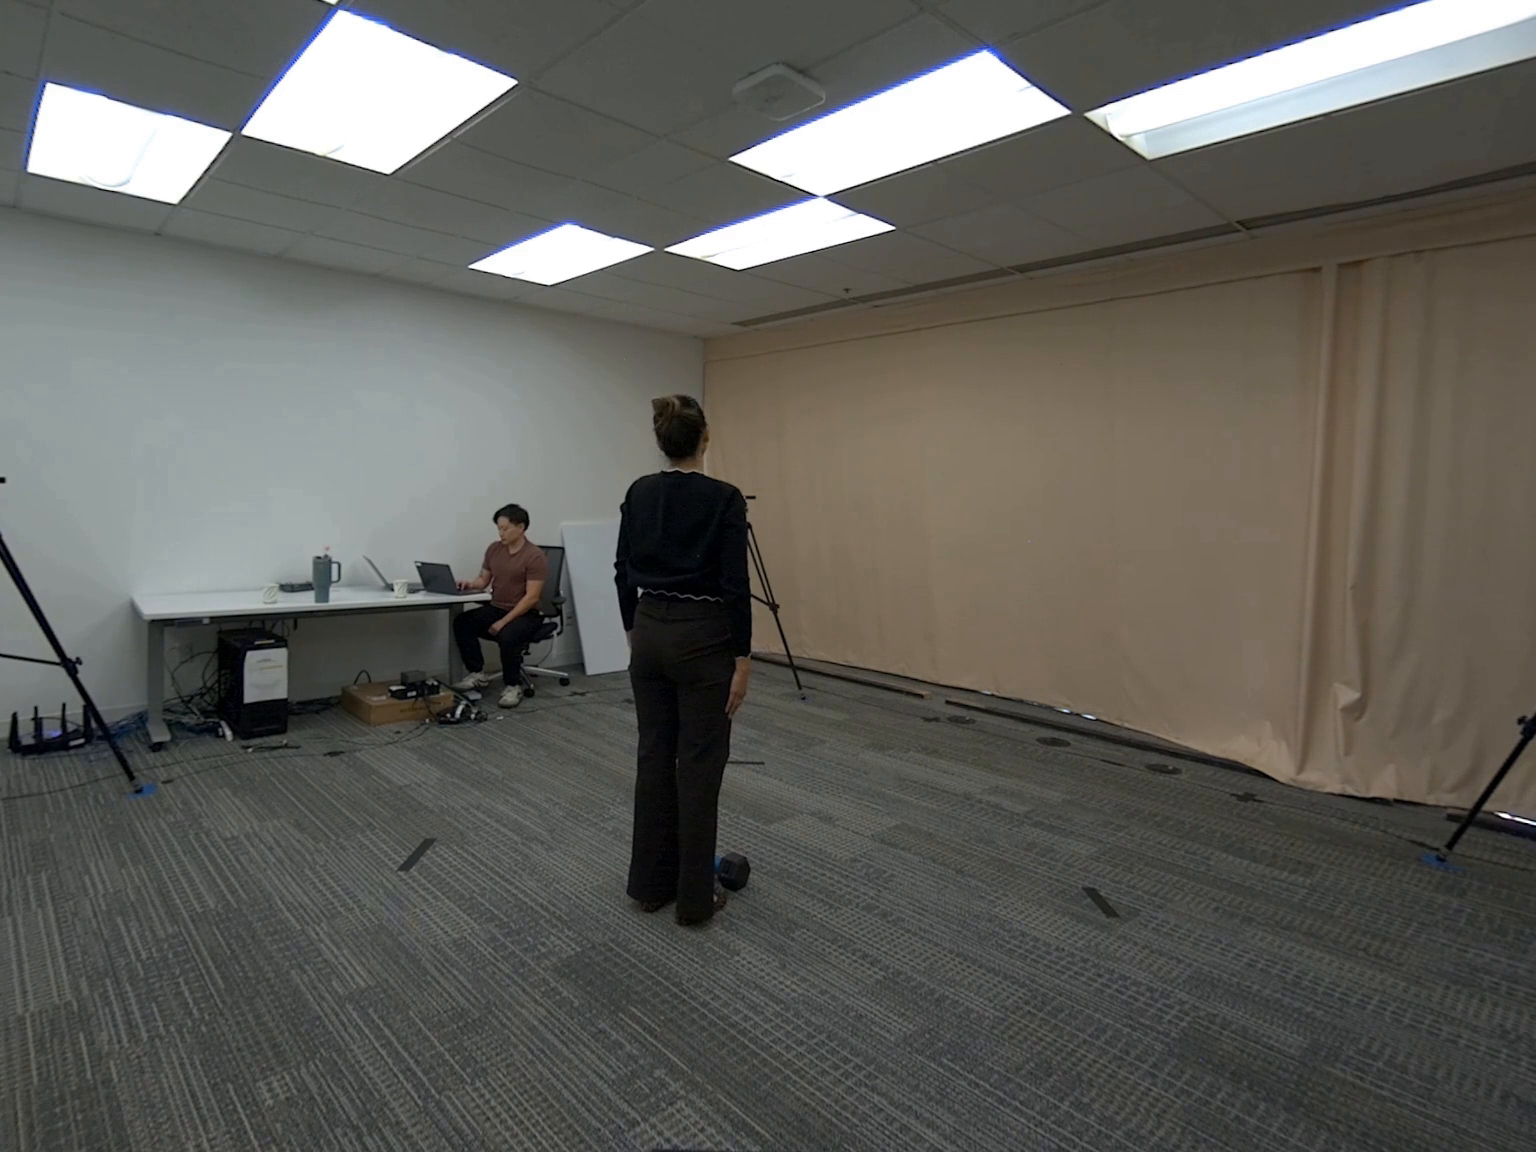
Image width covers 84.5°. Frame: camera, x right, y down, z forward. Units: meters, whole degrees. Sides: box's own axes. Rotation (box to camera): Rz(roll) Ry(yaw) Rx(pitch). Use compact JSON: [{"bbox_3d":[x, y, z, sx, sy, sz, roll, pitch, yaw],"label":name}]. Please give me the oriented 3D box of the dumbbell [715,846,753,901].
[{"bbox_3d":[-0.214,1.055,3.070,0.301,0.108,0.120,5,4,36],"label":"dumbbell"}]
